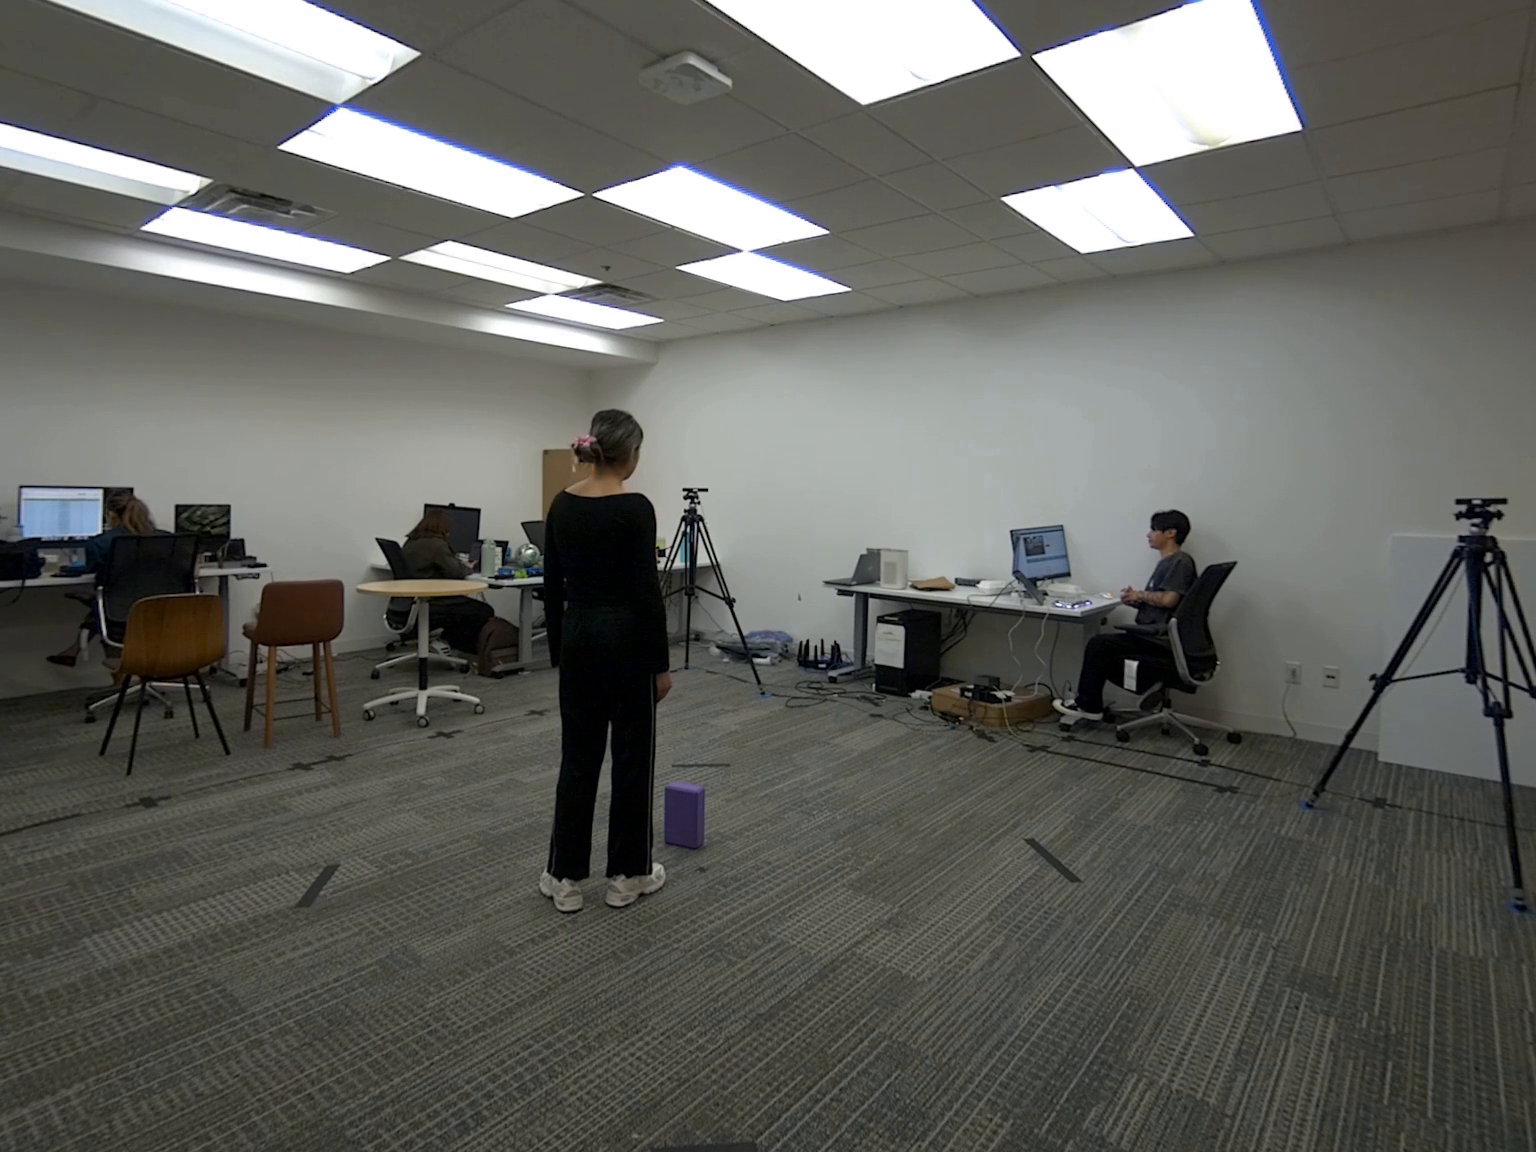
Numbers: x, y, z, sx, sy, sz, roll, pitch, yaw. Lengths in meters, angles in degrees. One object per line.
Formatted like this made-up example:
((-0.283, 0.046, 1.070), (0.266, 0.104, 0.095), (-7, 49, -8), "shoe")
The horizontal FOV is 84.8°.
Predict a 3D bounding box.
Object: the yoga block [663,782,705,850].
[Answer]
((-0.340, 0.931, 3.331), (0.153, 0.229, 0.075), (2, 3, 24), "yoga block")
